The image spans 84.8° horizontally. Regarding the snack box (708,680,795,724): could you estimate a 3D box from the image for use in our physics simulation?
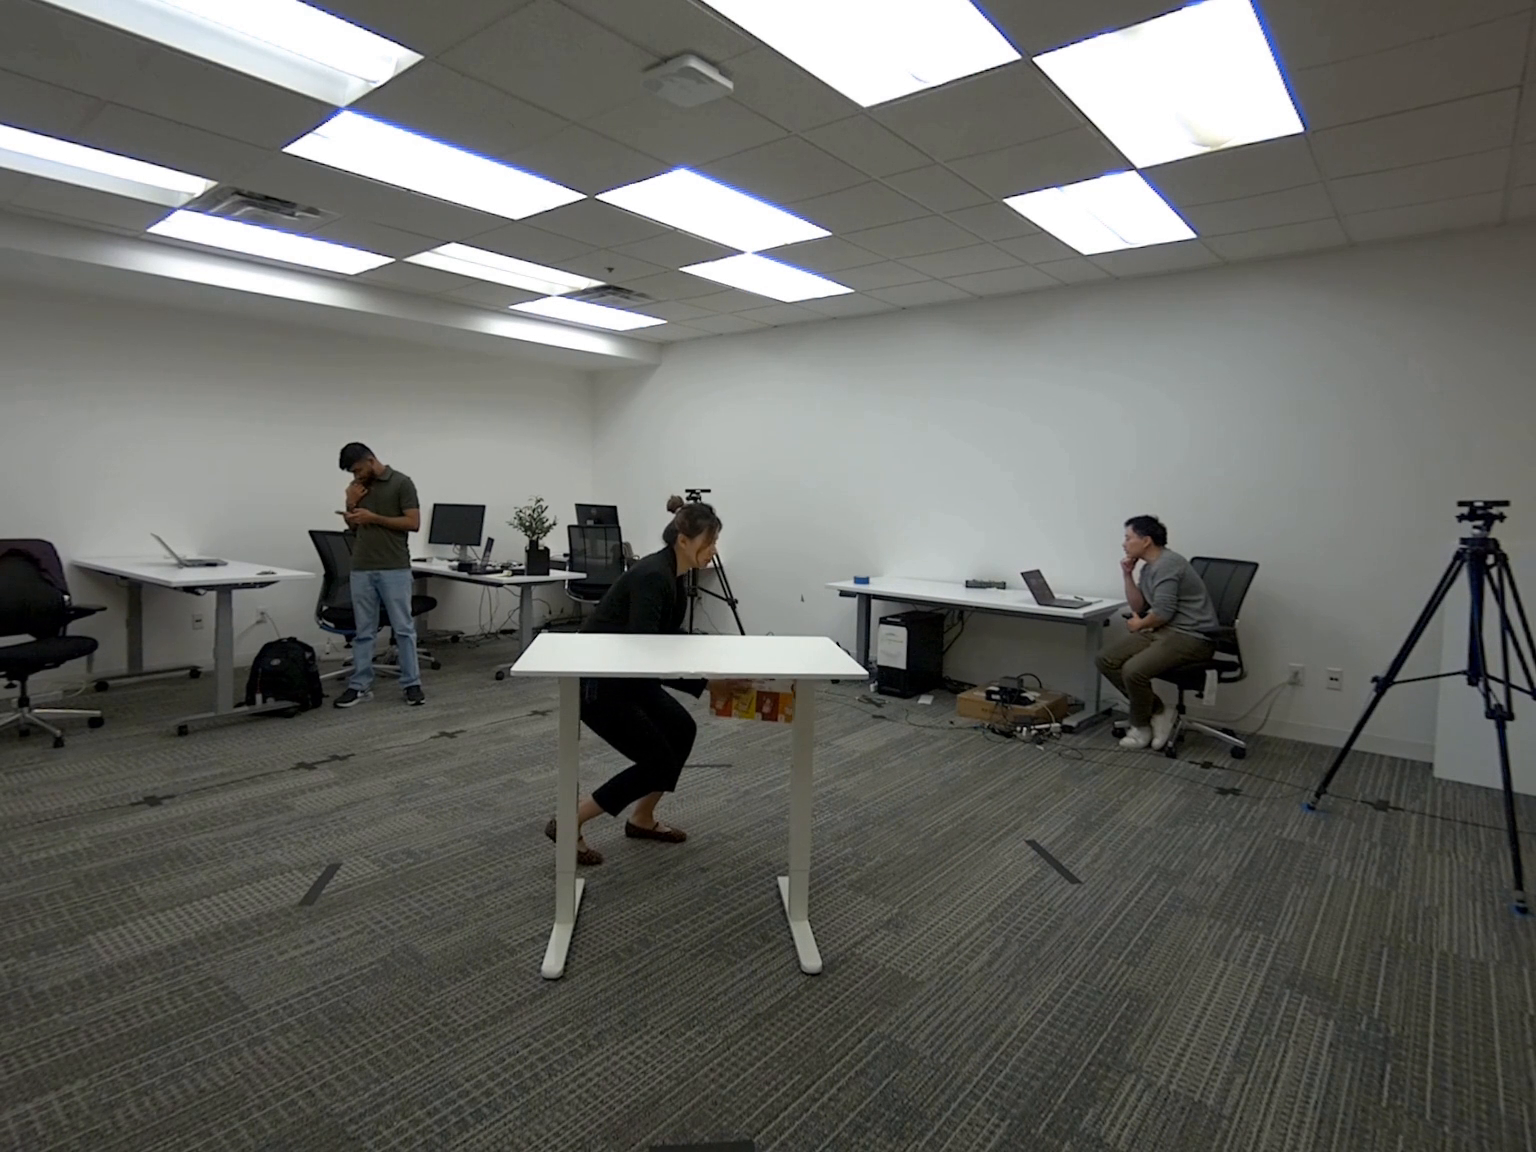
[{"bbox_3d":[-0.045,0.388,3.255,0.343,0.204,0.405,4,8,5],"label":"snack box"}]
